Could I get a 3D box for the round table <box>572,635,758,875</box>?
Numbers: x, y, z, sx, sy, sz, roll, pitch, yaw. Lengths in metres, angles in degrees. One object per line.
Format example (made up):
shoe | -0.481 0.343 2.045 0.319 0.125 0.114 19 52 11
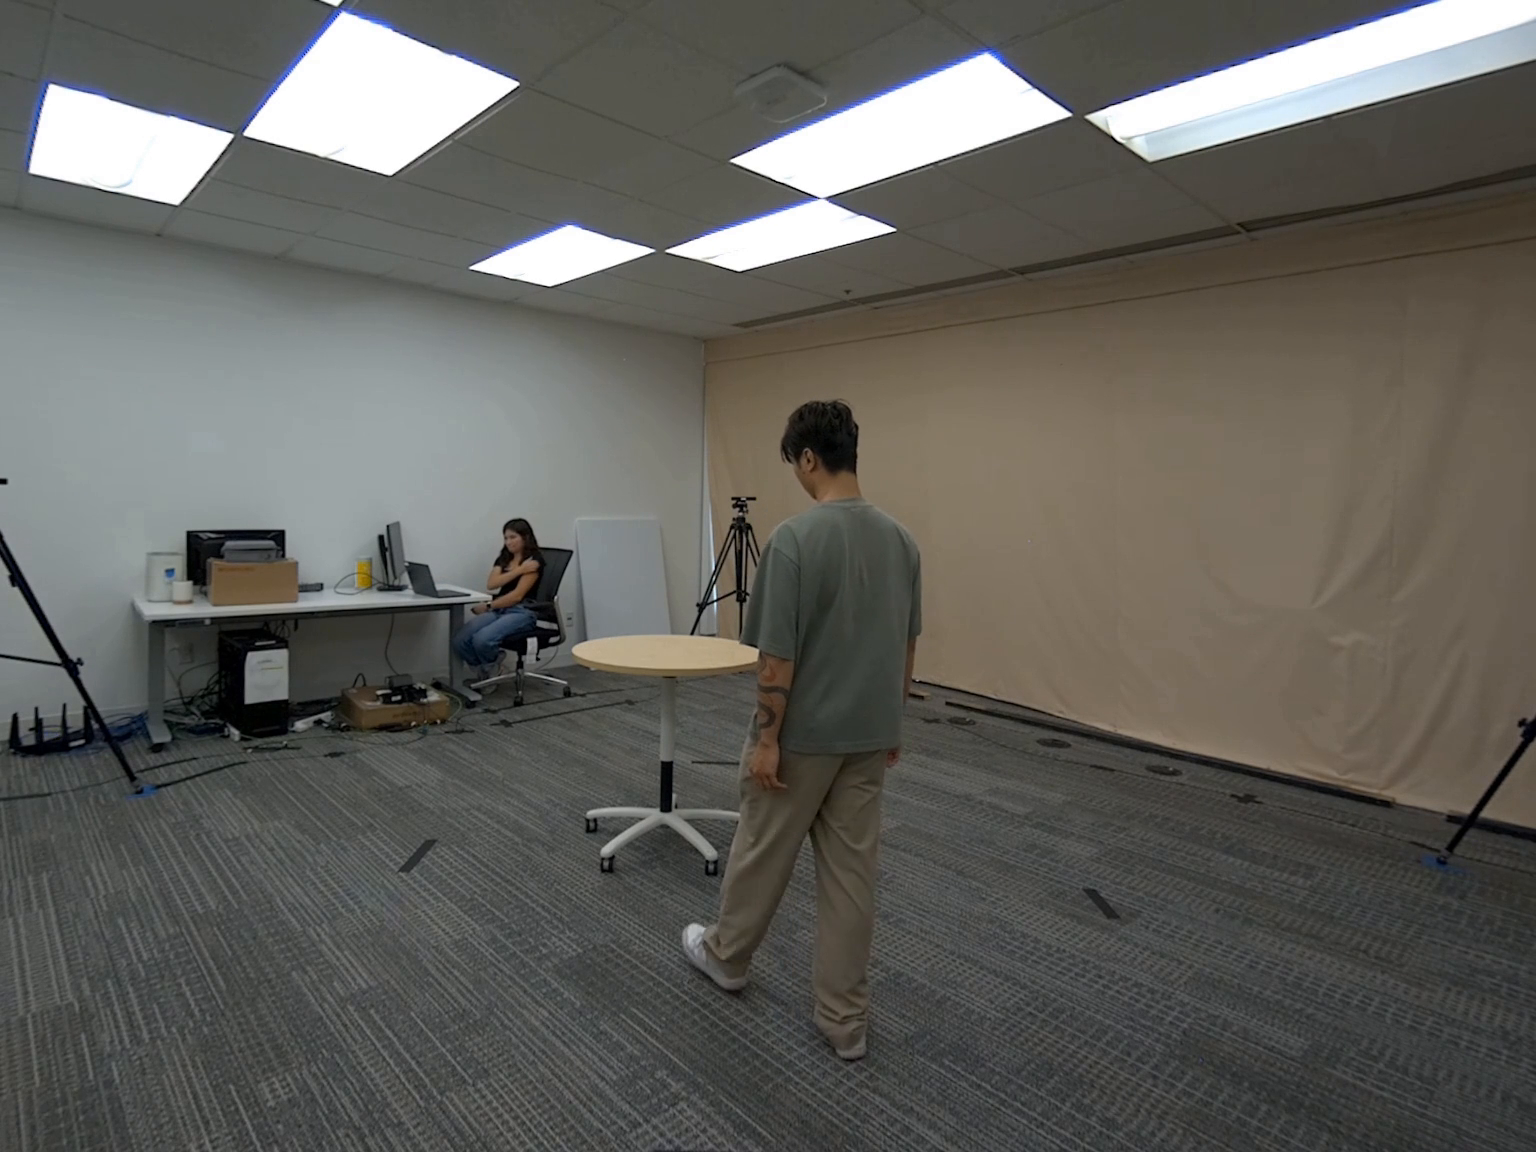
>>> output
round table | -0.422 0.685 3.340 0.784 0.785 0.787 2 3 -1
